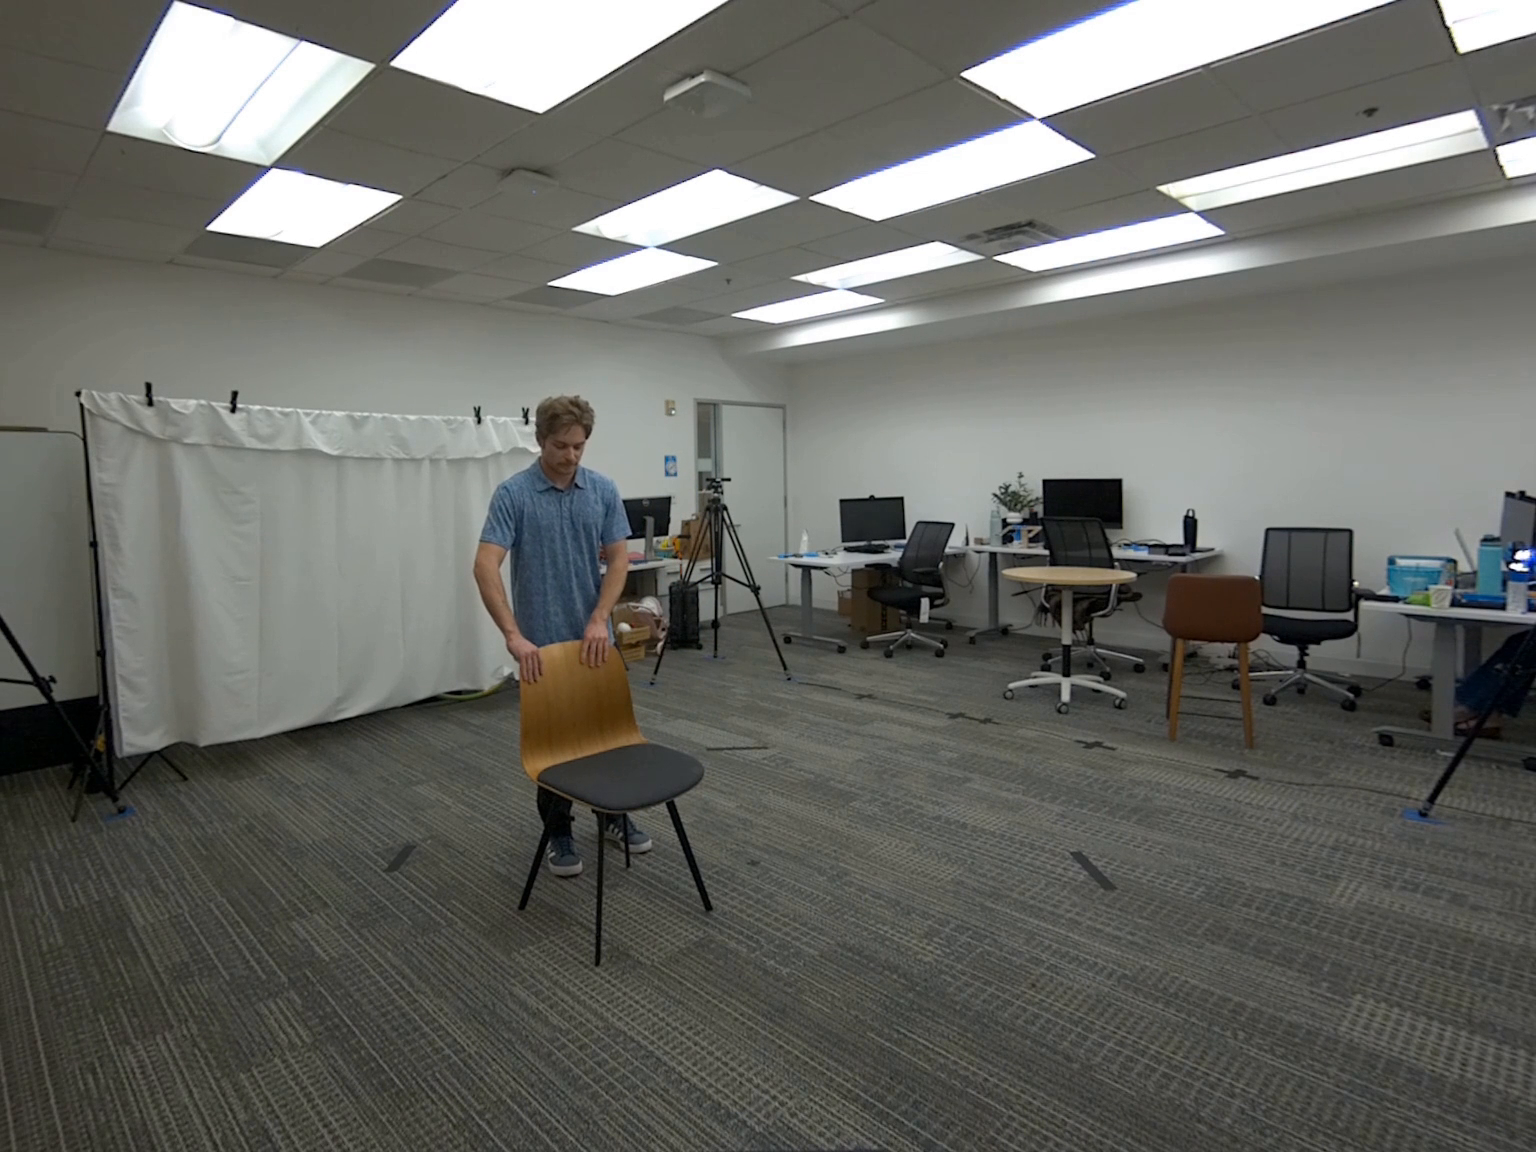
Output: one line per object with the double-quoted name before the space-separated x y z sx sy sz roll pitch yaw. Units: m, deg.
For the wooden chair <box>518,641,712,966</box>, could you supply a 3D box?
"wooden chair" -0.493 0.663 2.743 0.465 0.877 0.537 -5 2 -44
